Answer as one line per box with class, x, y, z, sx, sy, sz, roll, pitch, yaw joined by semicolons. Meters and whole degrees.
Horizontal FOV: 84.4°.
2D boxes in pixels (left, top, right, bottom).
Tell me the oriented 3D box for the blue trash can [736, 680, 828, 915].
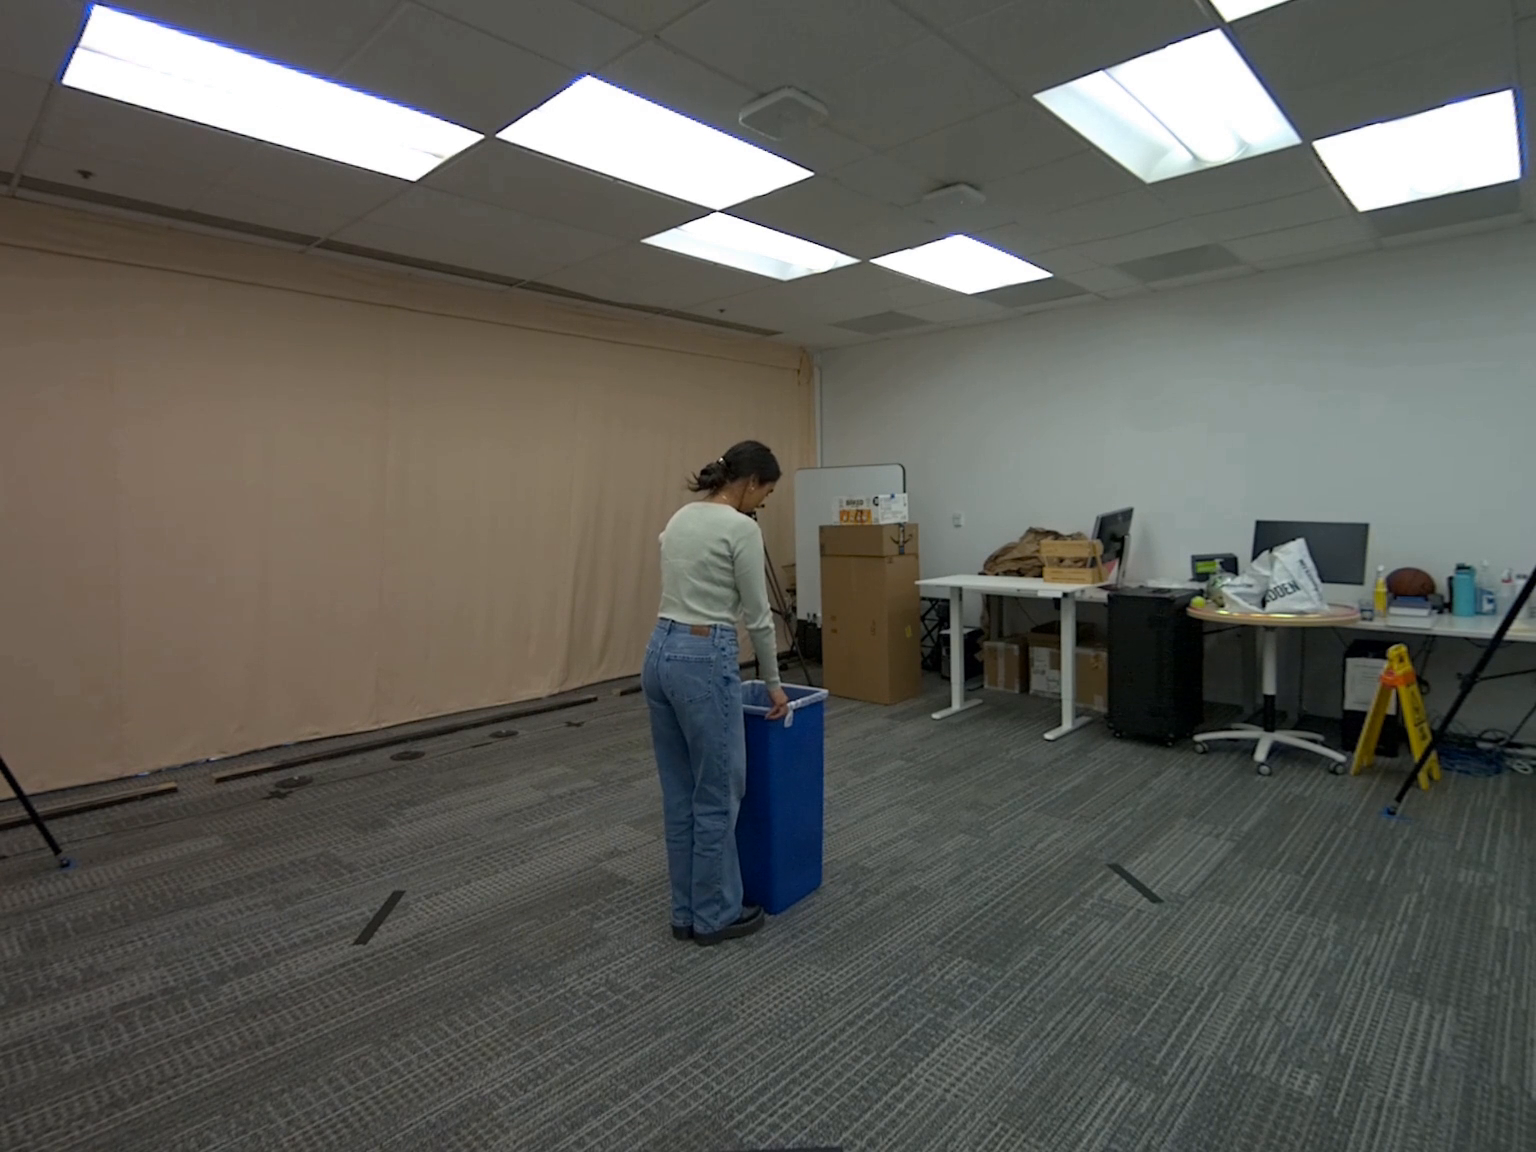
blue trash can;-0.019;0.775;3.038;0.386;0.712;0.367;2;5;38
